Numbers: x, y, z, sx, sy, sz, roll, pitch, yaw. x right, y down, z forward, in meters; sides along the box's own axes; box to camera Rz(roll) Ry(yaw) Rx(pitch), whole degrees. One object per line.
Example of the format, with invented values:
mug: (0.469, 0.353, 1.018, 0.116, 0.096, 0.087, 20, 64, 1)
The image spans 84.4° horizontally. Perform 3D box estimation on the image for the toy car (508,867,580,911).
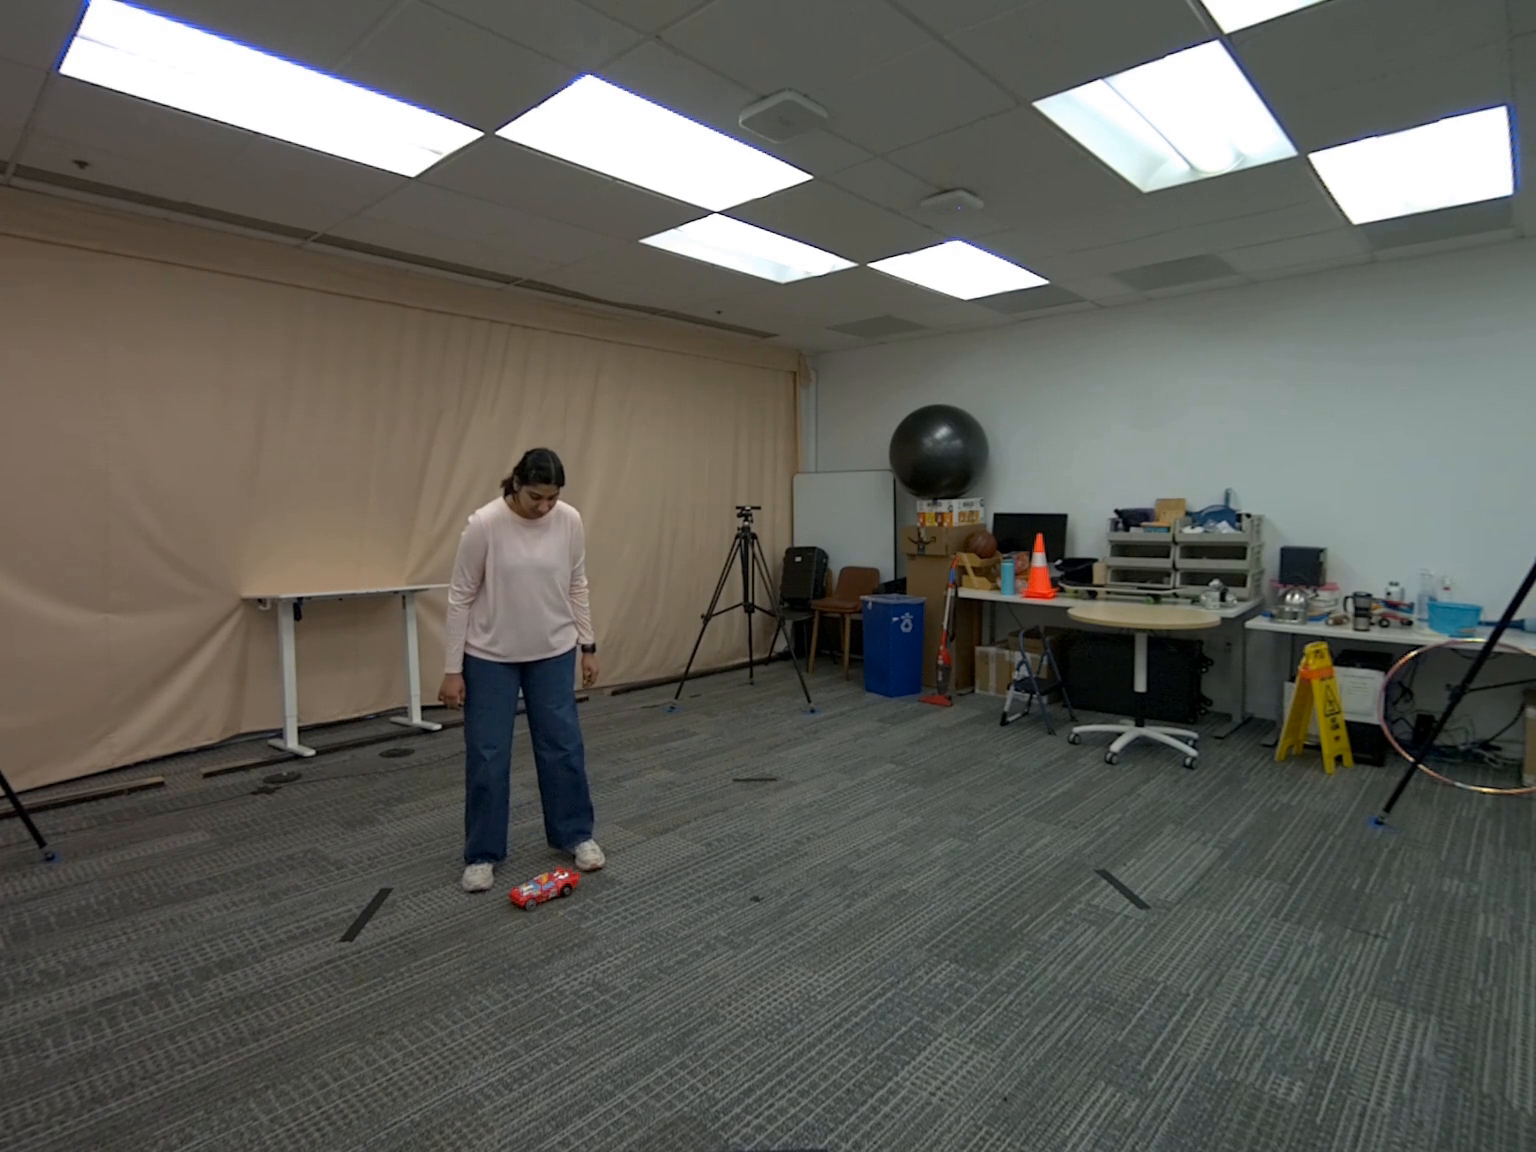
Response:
toy car: (-0.792, 1.115, 3.011, 0.248, 0.082, 0.134, -21, 16, -42)
